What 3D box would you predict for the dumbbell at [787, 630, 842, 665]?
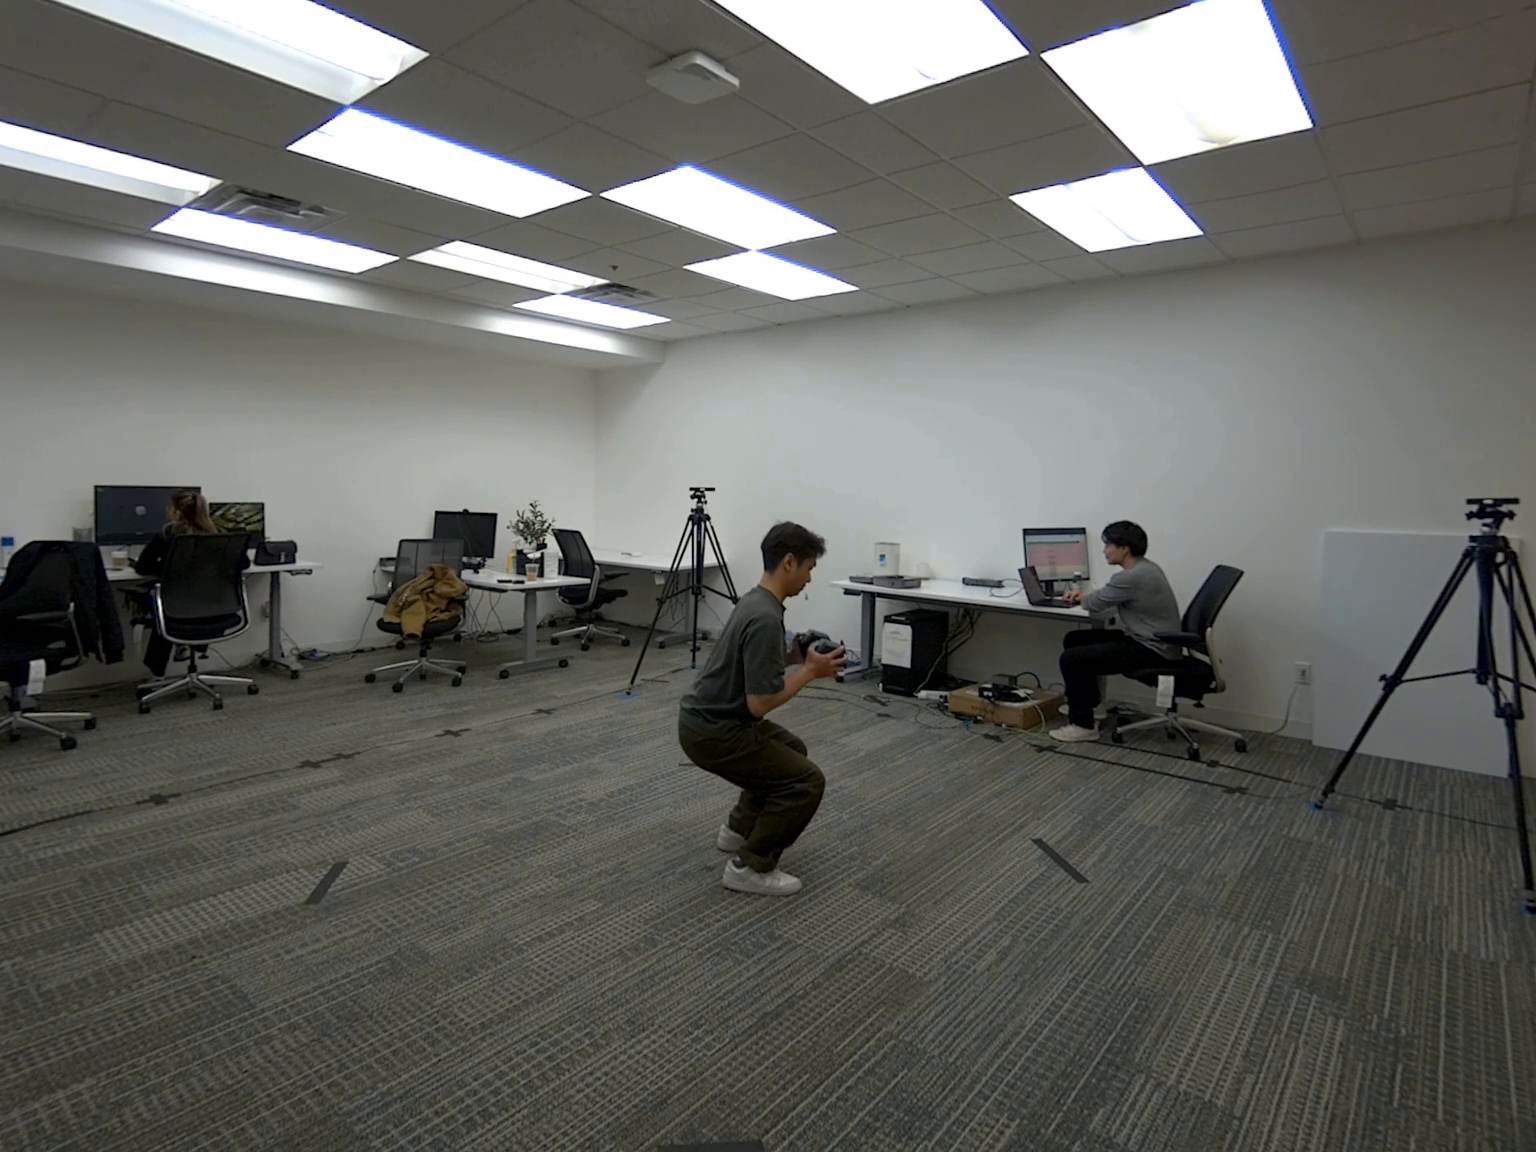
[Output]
[{"bbox_3d":[0.175,0.277,3.109,0.123,0.107,0.298,-43,11,-3],"label":"dumbbell"}]
